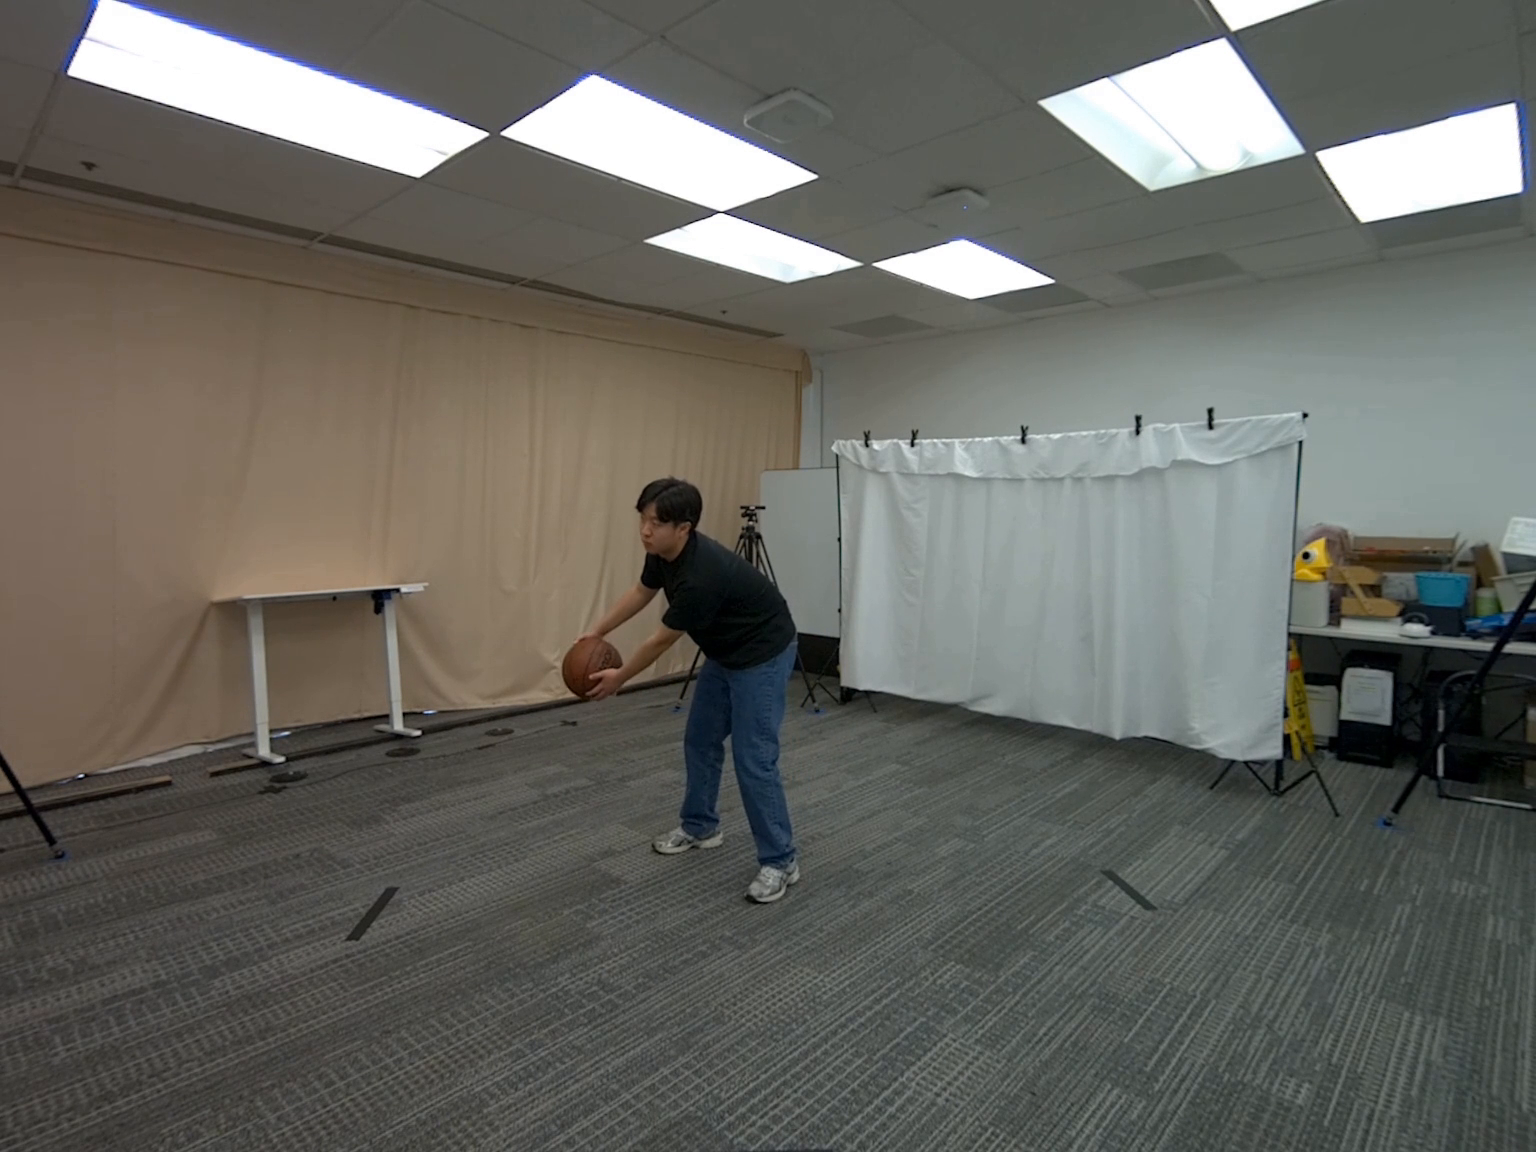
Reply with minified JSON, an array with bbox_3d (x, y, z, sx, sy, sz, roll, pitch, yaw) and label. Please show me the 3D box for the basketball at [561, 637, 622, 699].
[{"bbox_3d":[-0.676,0.376,3.303,0.236,0.235,0.237,0,4,-2],"label":"basketball"}]
